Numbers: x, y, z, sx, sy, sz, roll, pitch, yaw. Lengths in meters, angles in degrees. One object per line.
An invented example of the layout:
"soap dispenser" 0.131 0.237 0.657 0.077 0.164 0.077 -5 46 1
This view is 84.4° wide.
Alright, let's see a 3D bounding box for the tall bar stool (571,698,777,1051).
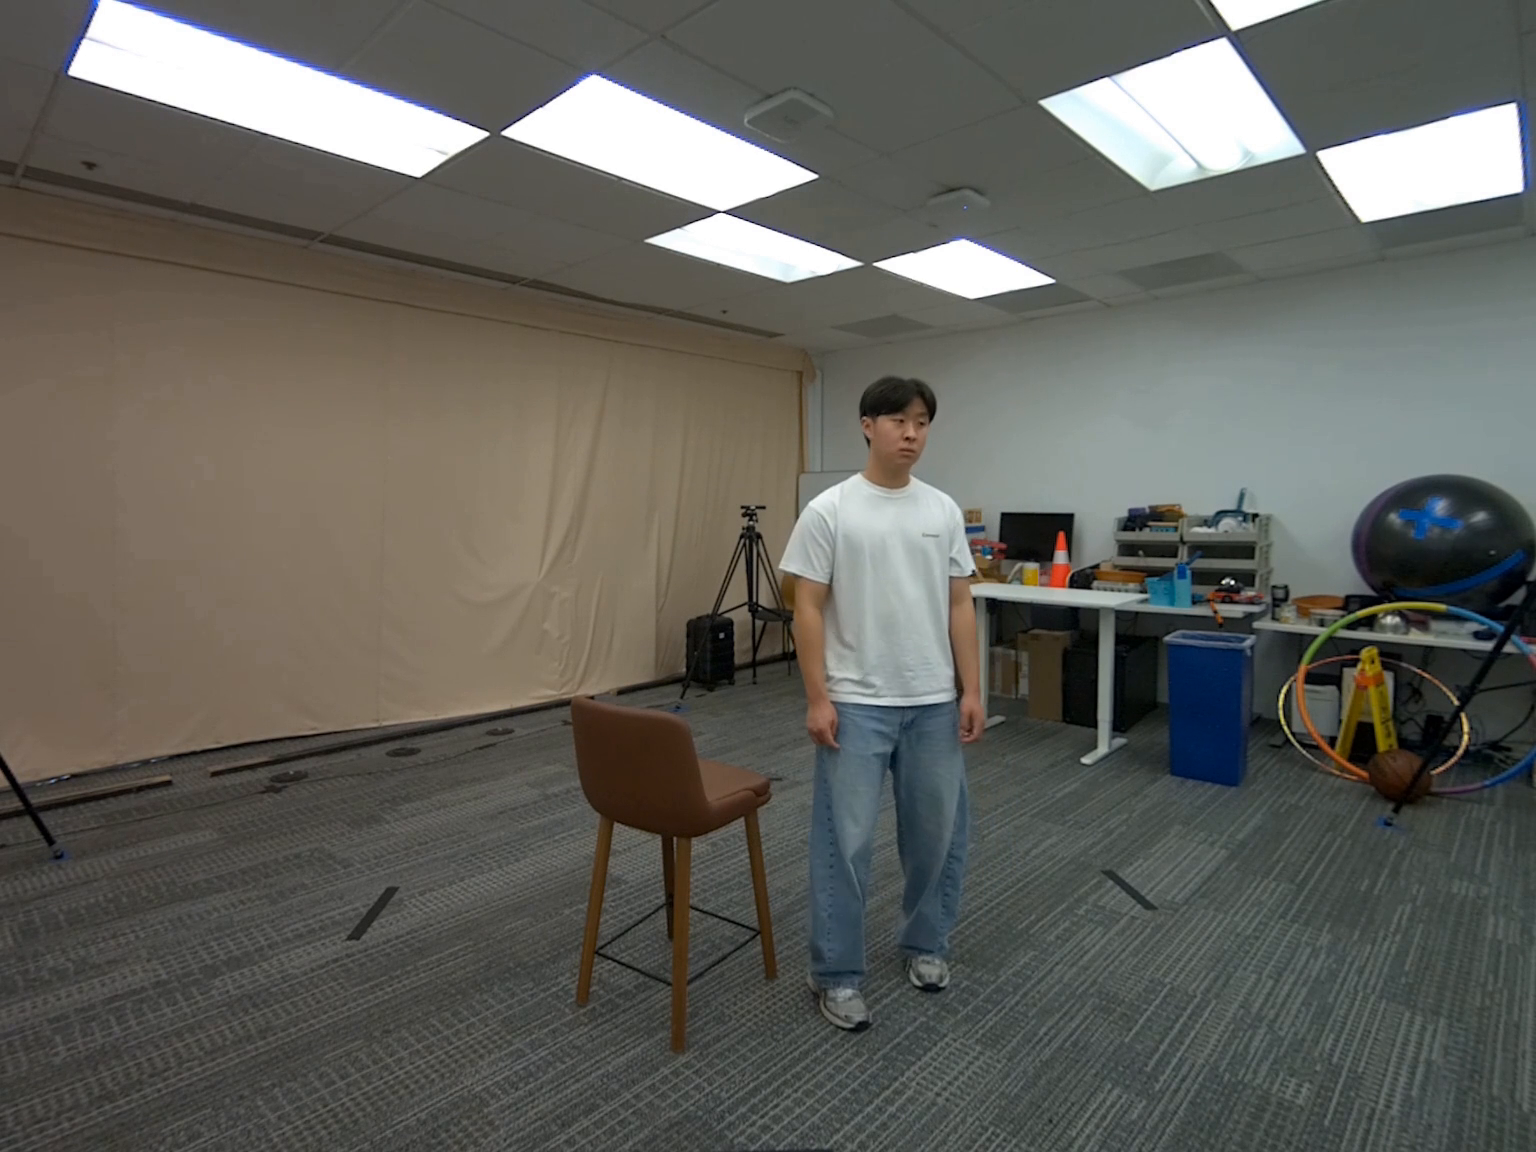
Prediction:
"tall bar stool" -0.267 0.763 2.402 0.471 0.887 0.454 2 6 35
